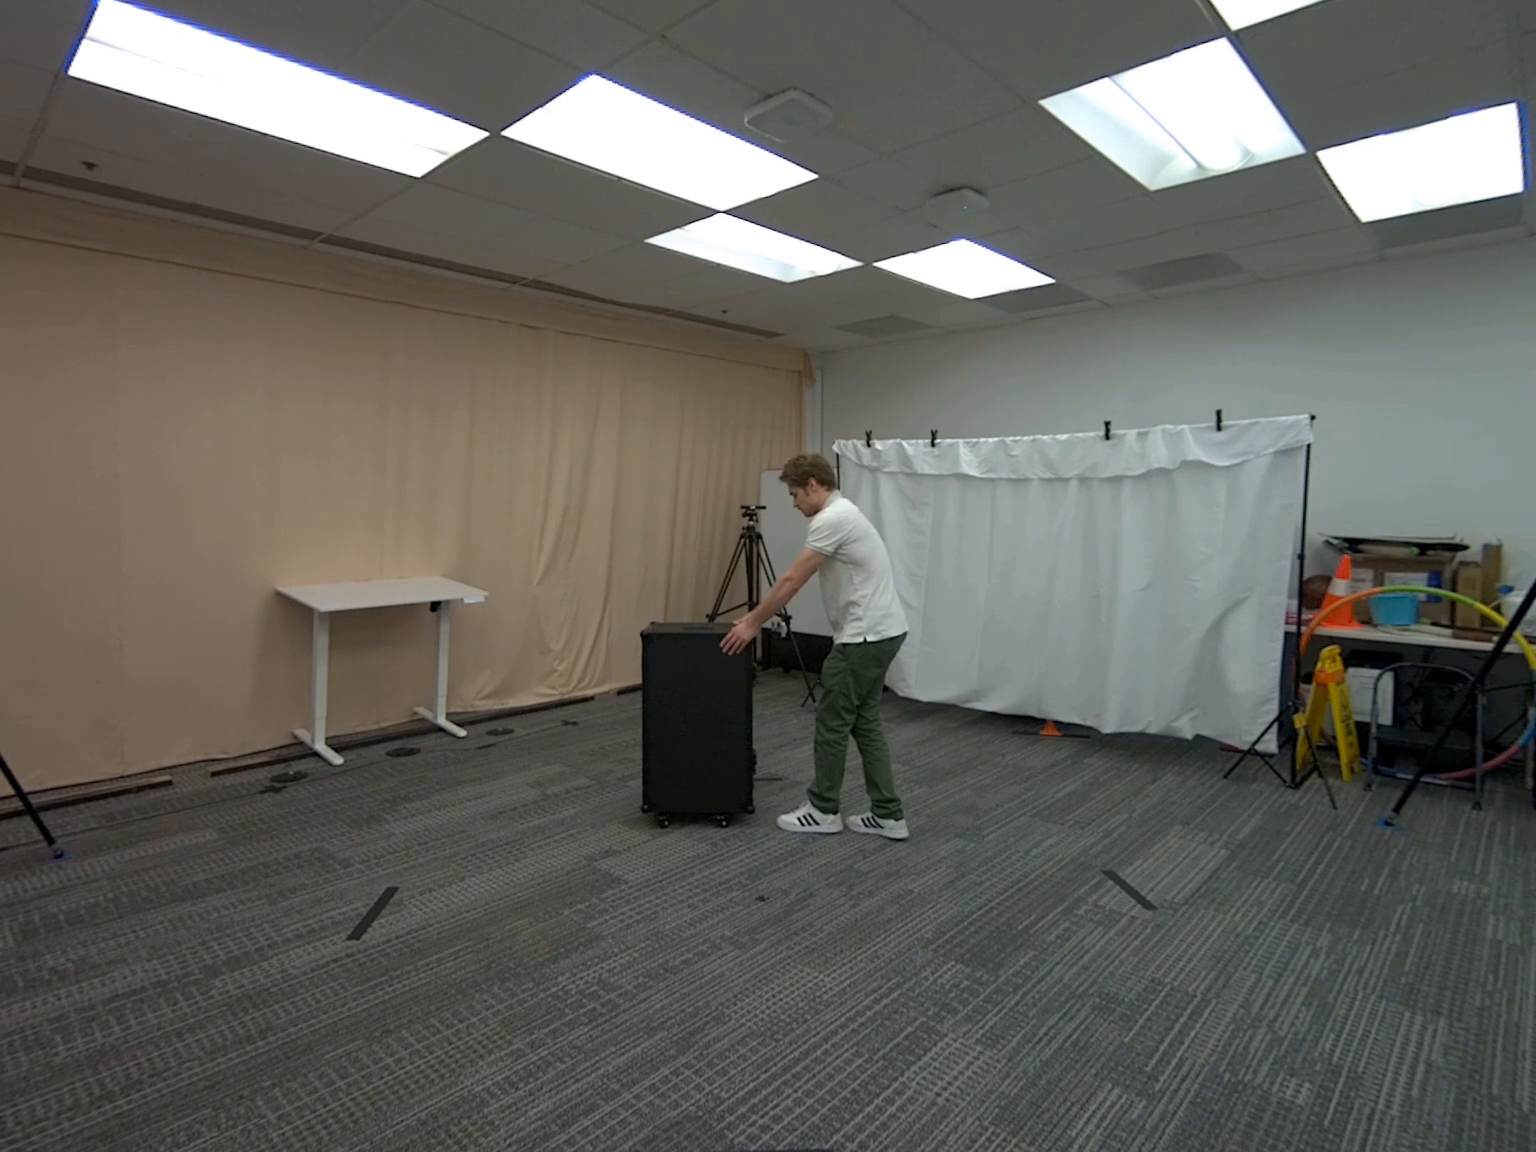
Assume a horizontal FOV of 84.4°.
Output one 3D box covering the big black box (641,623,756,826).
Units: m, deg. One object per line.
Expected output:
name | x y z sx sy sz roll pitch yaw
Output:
big black box | -0.315 0.658 3.795 0.524 0.867 0.385 1 2 0
